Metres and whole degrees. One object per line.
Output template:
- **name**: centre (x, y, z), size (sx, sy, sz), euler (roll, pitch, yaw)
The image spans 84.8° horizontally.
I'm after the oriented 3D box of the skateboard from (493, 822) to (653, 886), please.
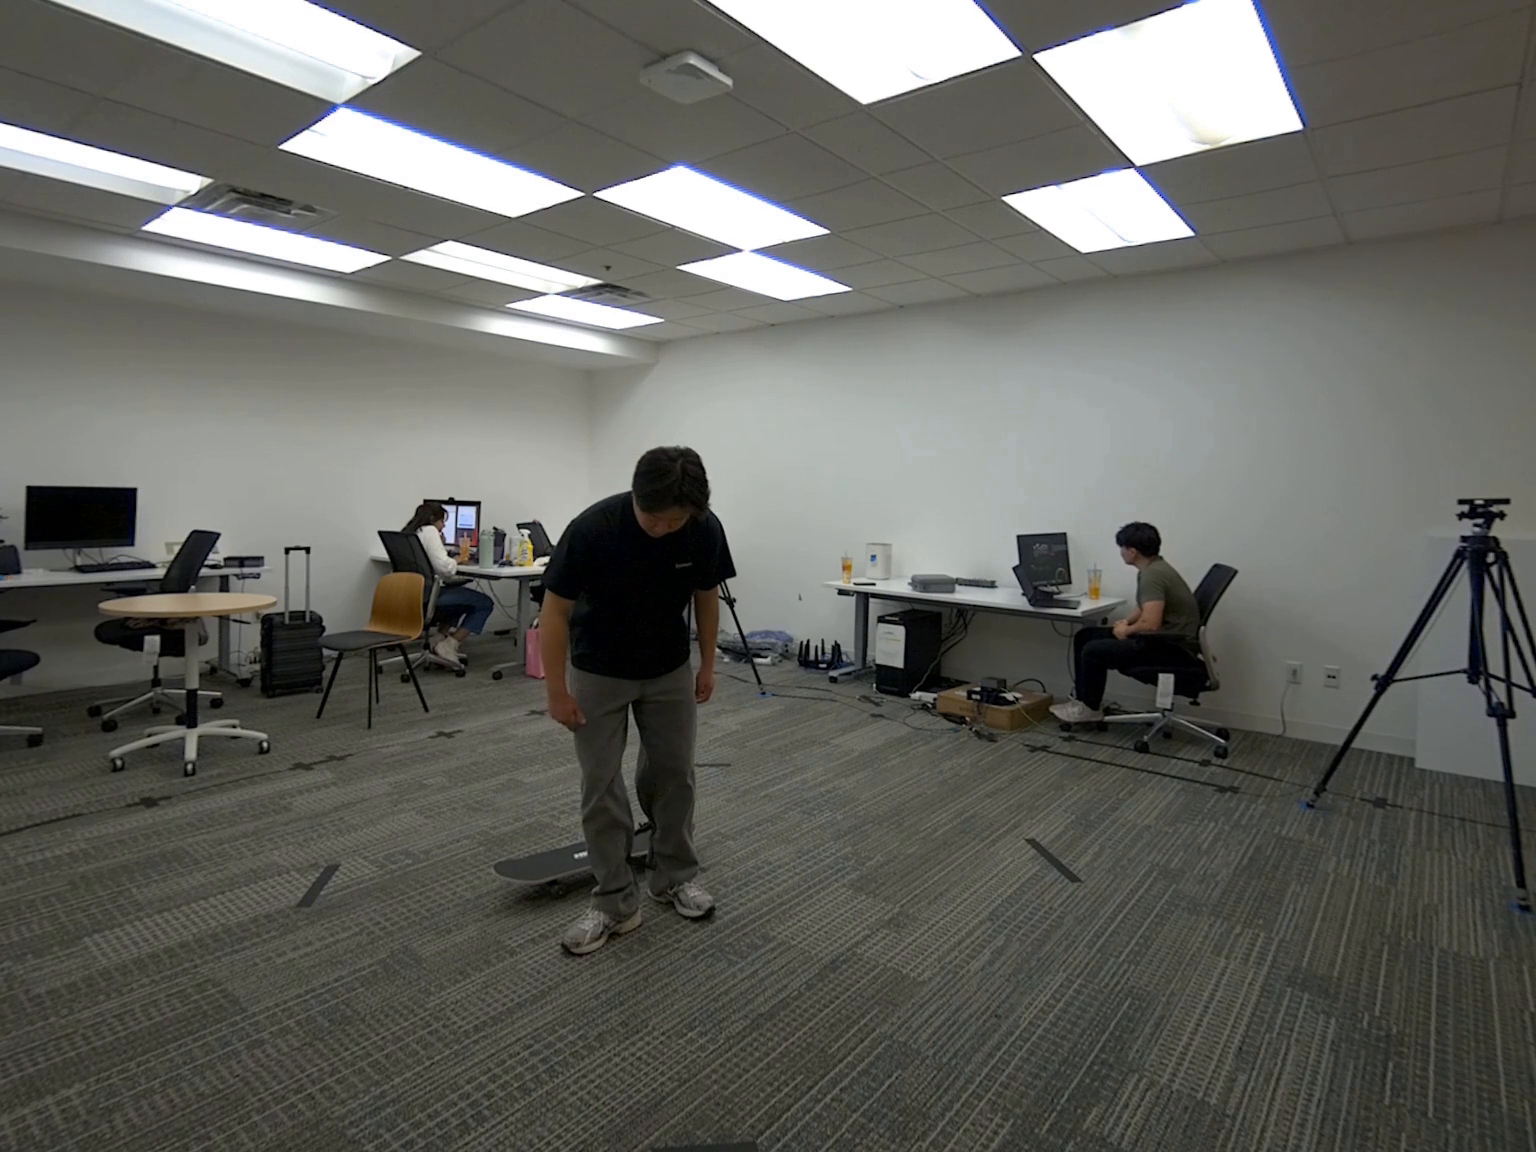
- **skateboard**: centre (-0.611, 1.012, 3.043), size (0.762, 0.110, 0.200), euler (-2, 6, -37)
